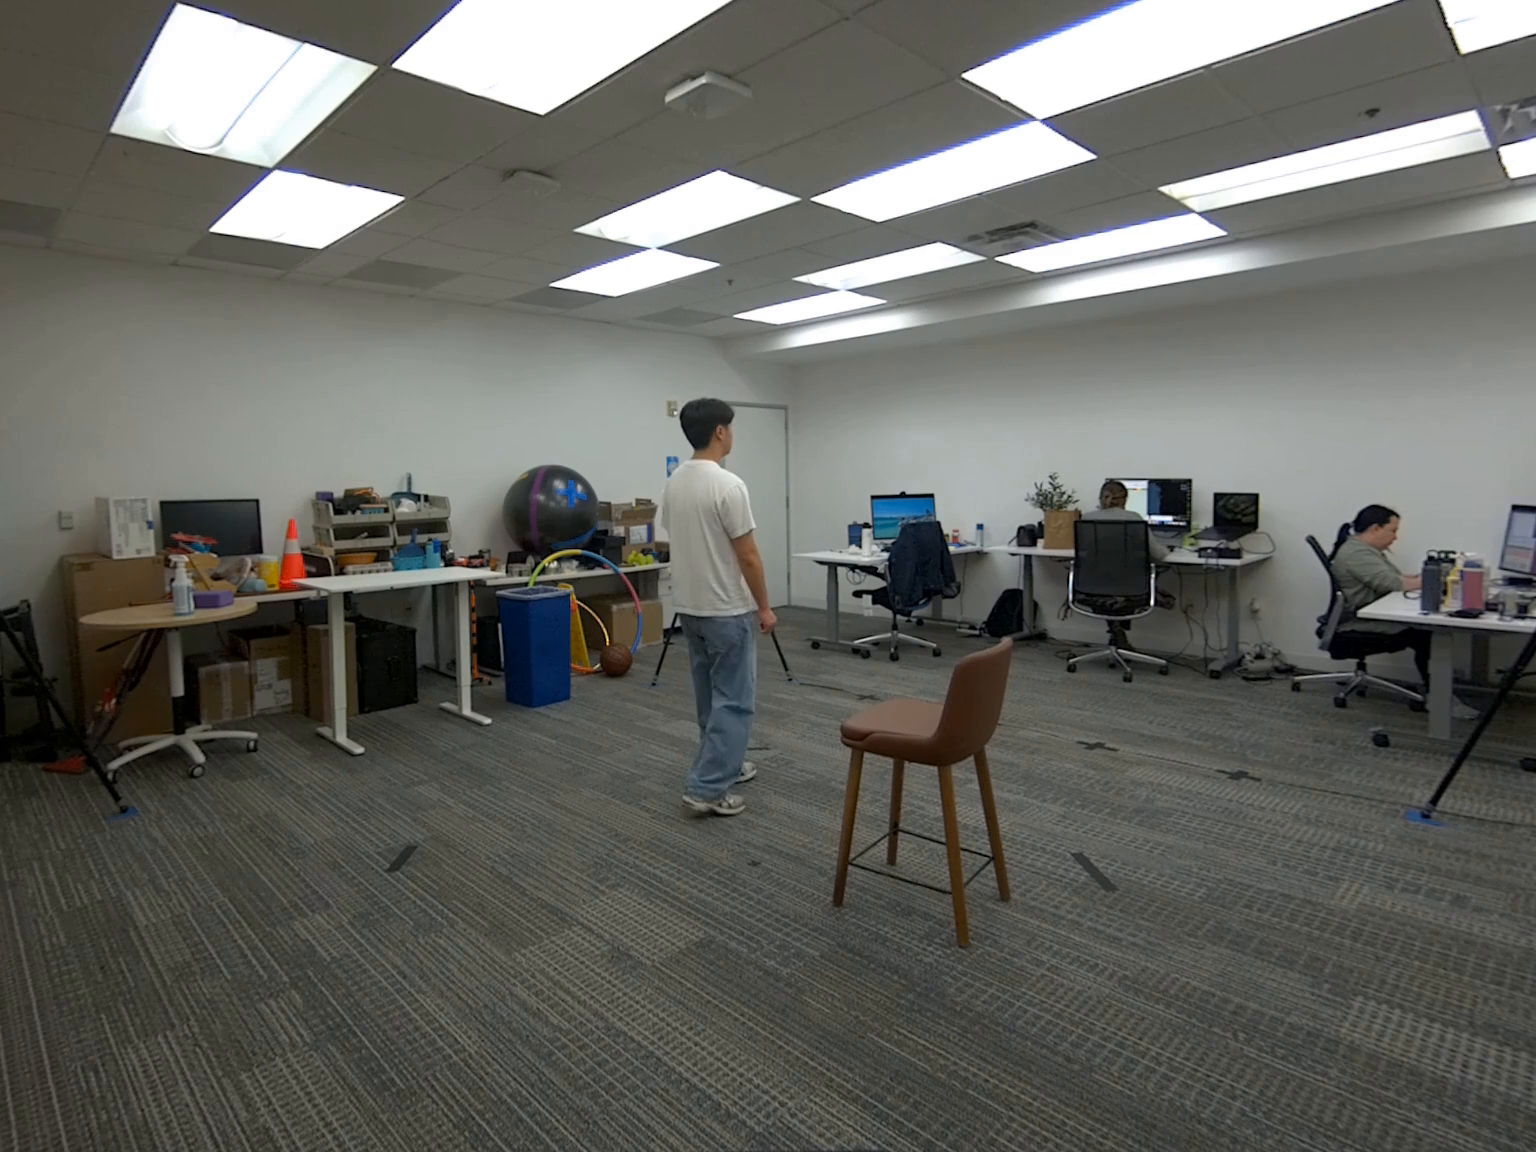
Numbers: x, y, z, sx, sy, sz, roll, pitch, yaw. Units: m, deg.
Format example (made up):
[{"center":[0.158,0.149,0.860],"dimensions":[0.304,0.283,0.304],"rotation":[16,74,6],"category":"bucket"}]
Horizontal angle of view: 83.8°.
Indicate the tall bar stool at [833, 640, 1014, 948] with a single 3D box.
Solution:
[{"center":[0.515,0.640,2.772],"dimensions":[0.482,0.885,0.445],"rotation":[5,7,37],"category":"tall bar stool"}]
